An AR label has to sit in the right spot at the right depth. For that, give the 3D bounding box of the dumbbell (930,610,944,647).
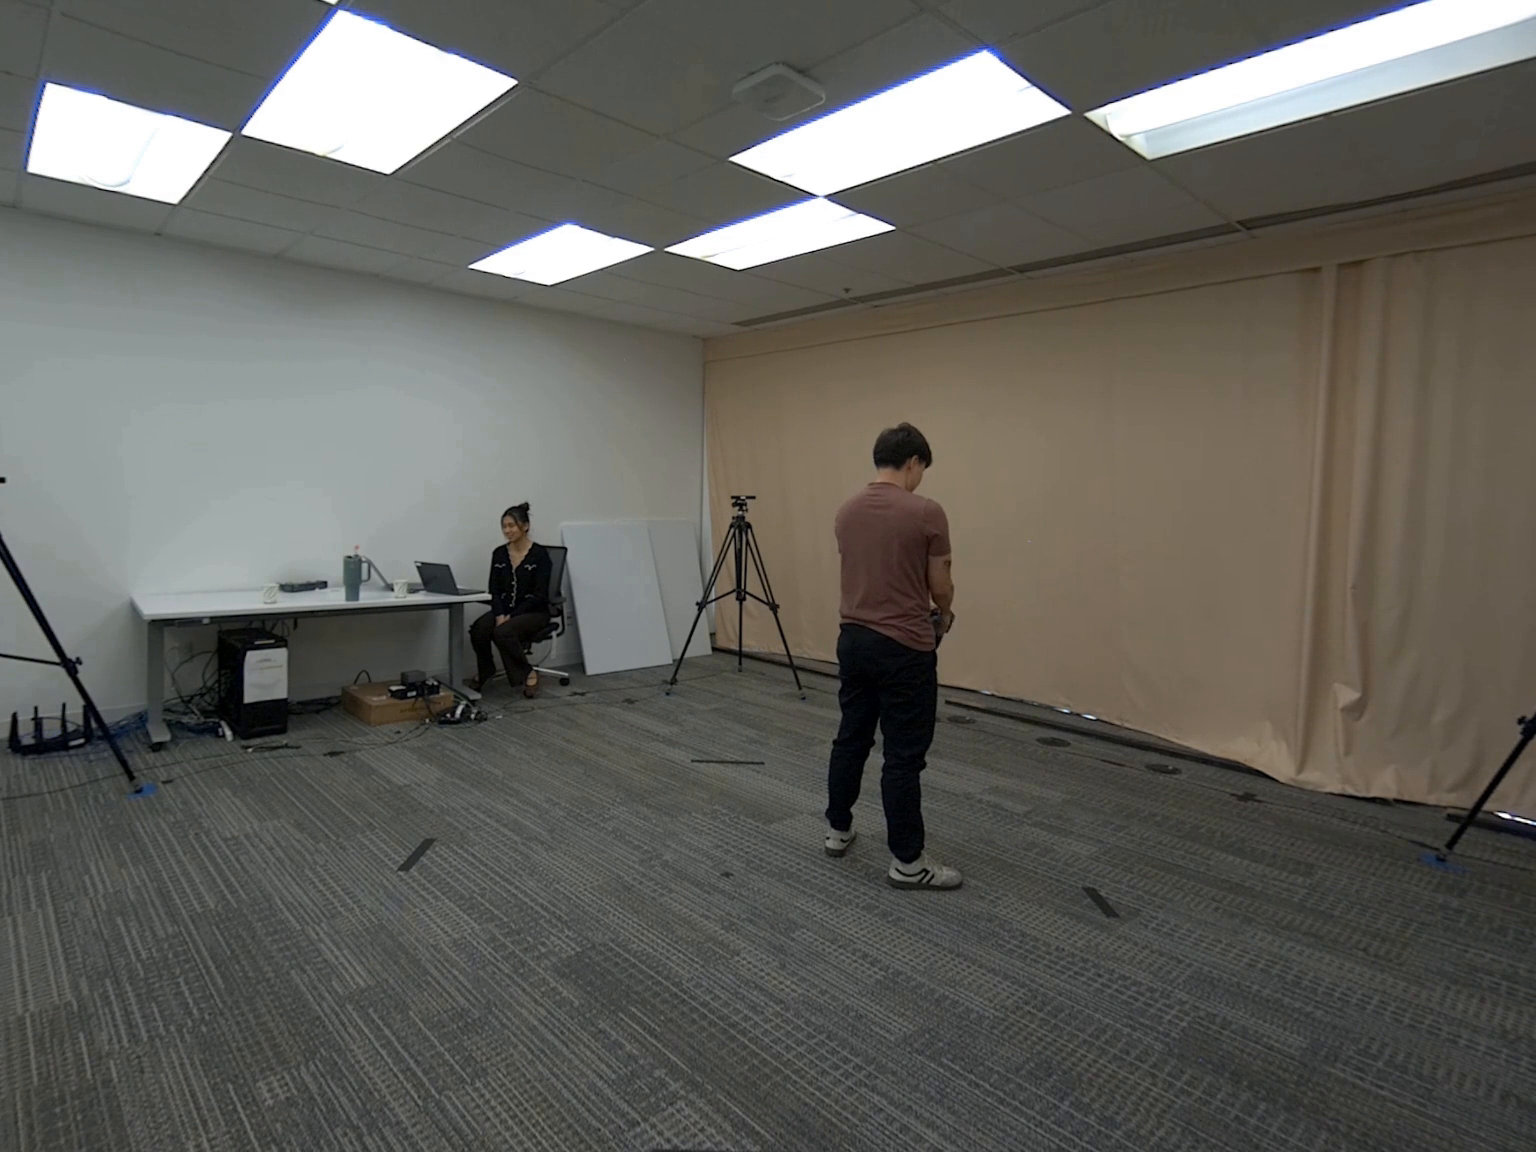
[{"bbox_3d":[0.665,0.209,3.388,0.111,0.122,0.290,25,24,19],"label":"dumbbell"}]
